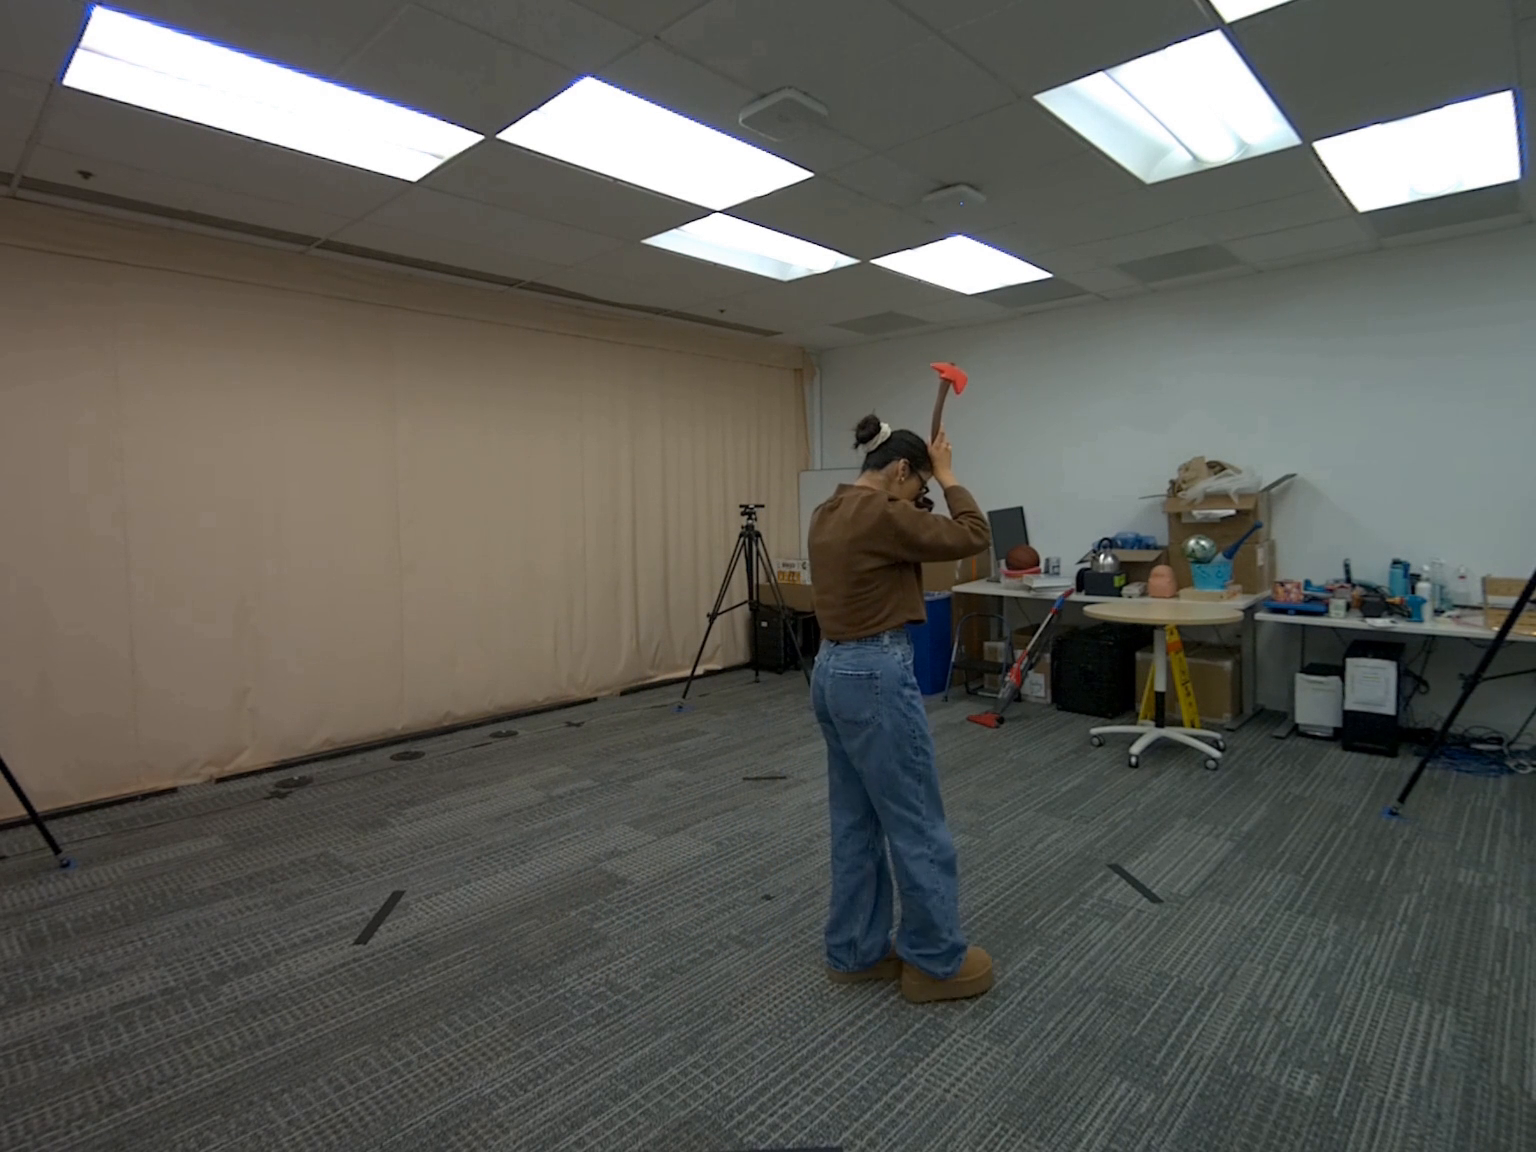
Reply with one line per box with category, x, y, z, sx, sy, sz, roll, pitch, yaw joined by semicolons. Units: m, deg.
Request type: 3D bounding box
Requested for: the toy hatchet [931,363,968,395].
toy hatchet;0.543;-0.498;2.477;0.128;0.269;0.030;-3;7;-19
